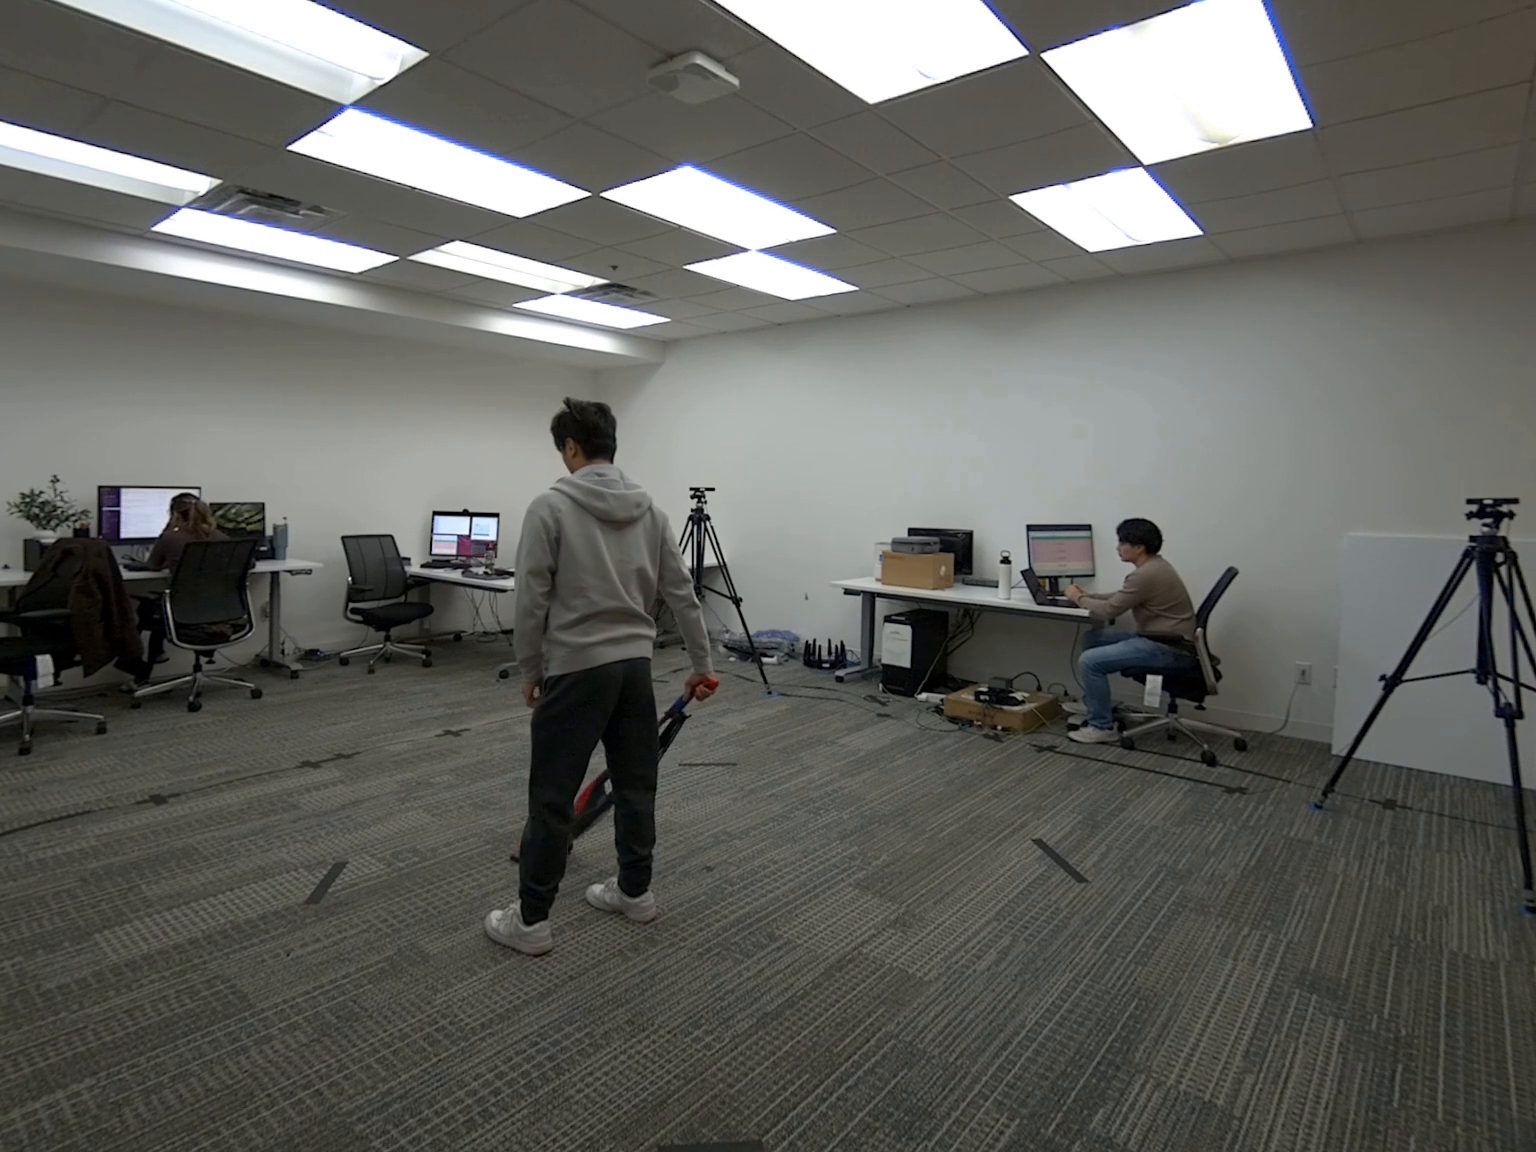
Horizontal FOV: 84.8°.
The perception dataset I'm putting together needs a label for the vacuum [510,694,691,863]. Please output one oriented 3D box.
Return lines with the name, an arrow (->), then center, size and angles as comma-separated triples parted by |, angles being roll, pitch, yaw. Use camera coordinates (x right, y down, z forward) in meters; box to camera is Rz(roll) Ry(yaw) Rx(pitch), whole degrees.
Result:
vacuum -> -0.530, 0.696, 2.989 | 1.050, 0.147, 0.247 | -45, -16, 26
